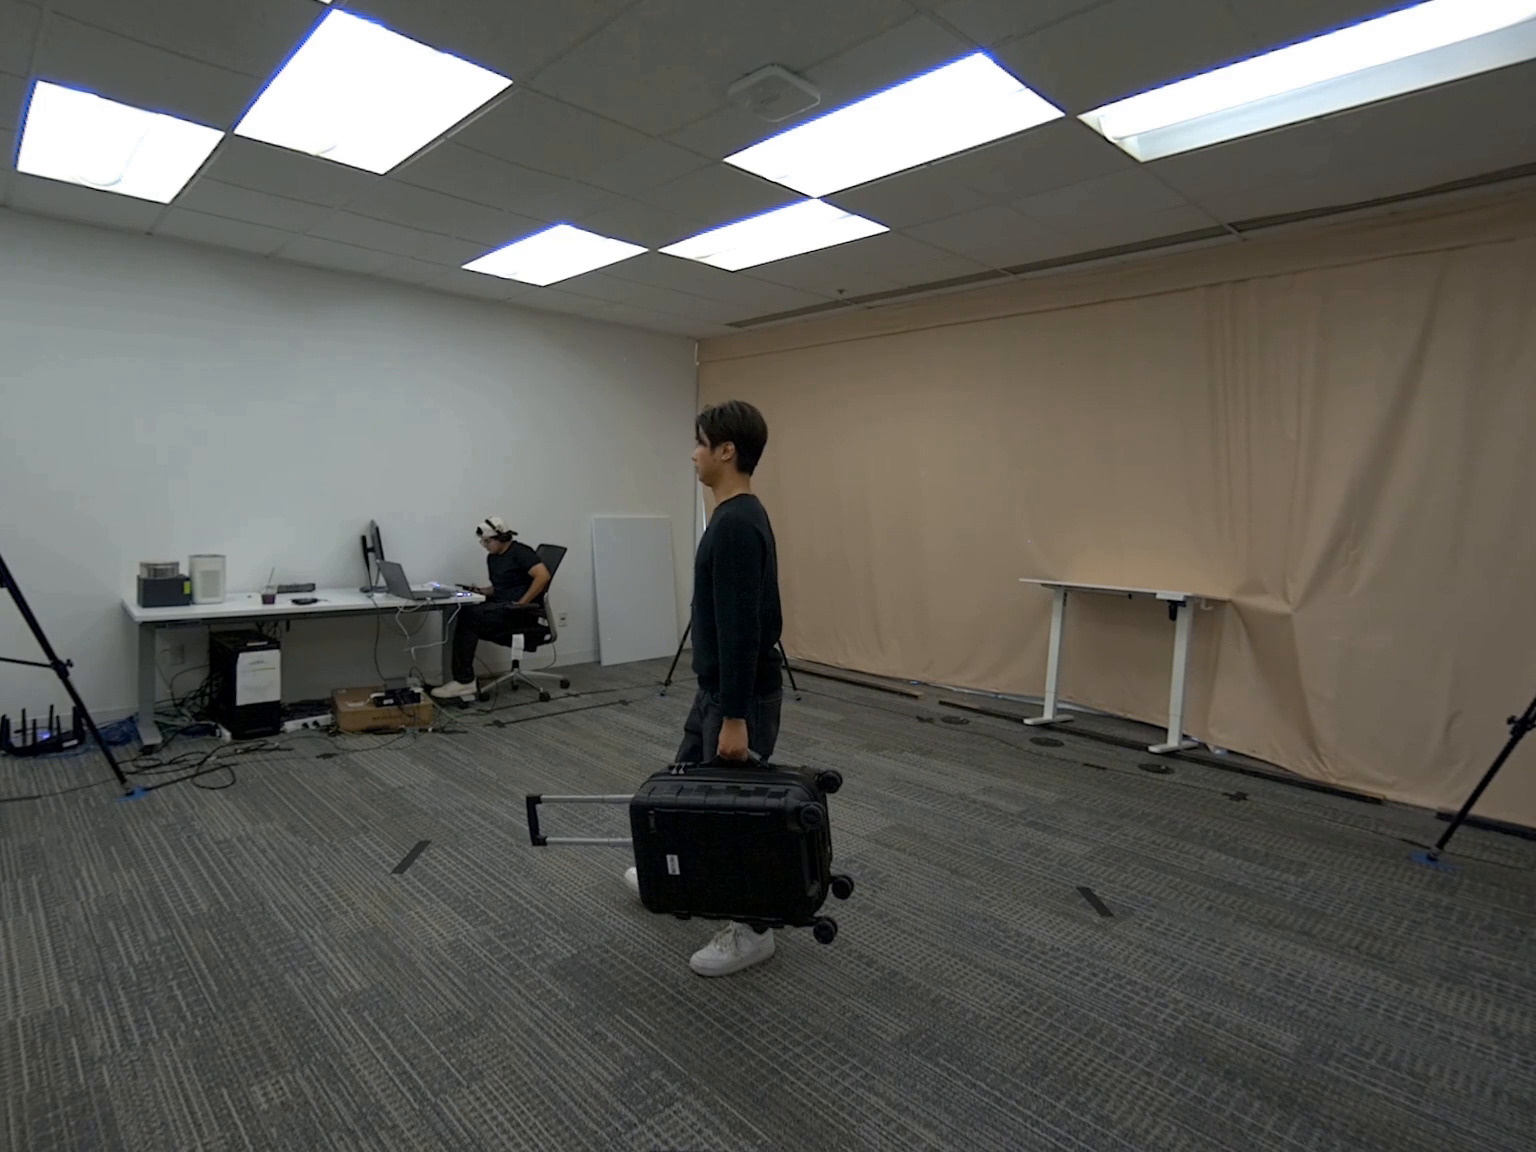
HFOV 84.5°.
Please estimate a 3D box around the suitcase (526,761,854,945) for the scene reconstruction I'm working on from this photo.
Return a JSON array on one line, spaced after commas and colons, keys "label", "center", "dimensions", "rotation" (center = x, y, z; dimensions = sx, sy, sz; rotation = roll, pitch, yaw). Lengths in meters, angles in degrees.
[{"label": "suitcase", "center": [-0.289, 0.723, 2.301], "dimensions": [0.992, 0.382, 0.255], "rotation": [-4, 6, 19]}]
